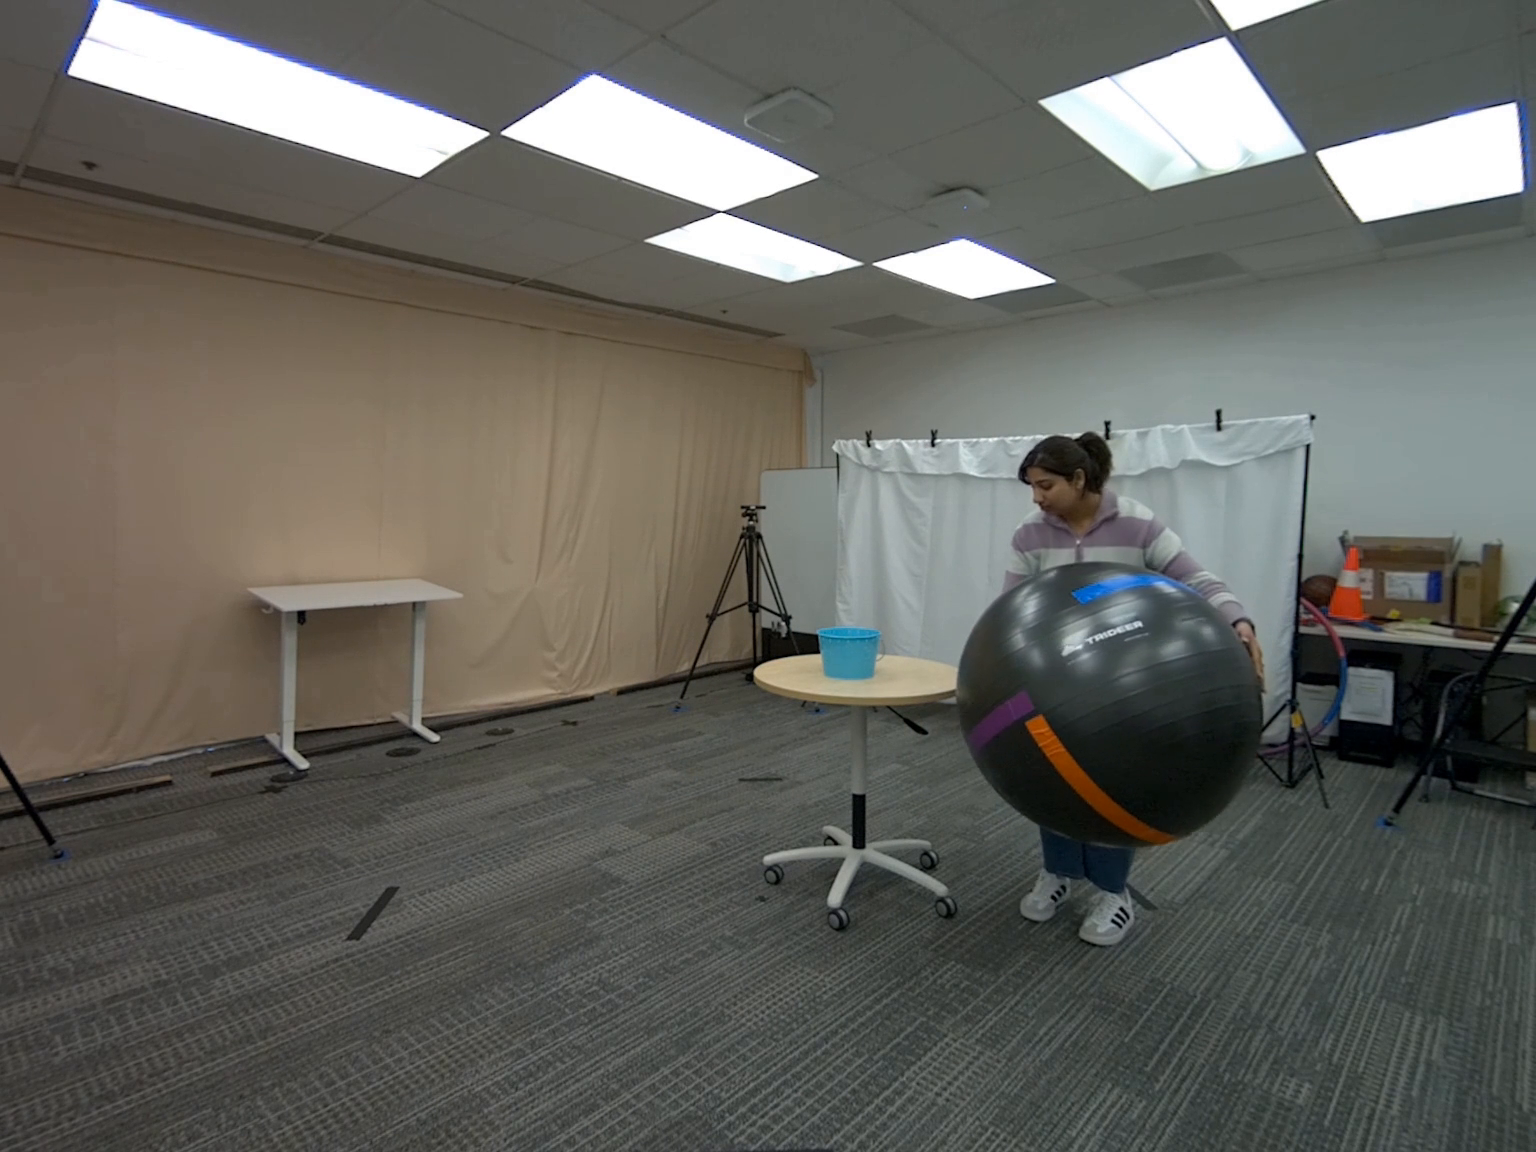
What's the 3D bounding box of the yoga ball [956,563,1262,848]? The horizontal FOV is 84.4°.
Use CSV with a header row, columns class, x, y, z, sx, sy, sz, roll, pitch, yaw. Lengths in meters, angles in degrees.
class,x,y,z,sx,sy,sz,roll,pitch,yaw
yoga ball,0.922,0.350,2.294,0.757,0.756,0.760,0,4,-2
